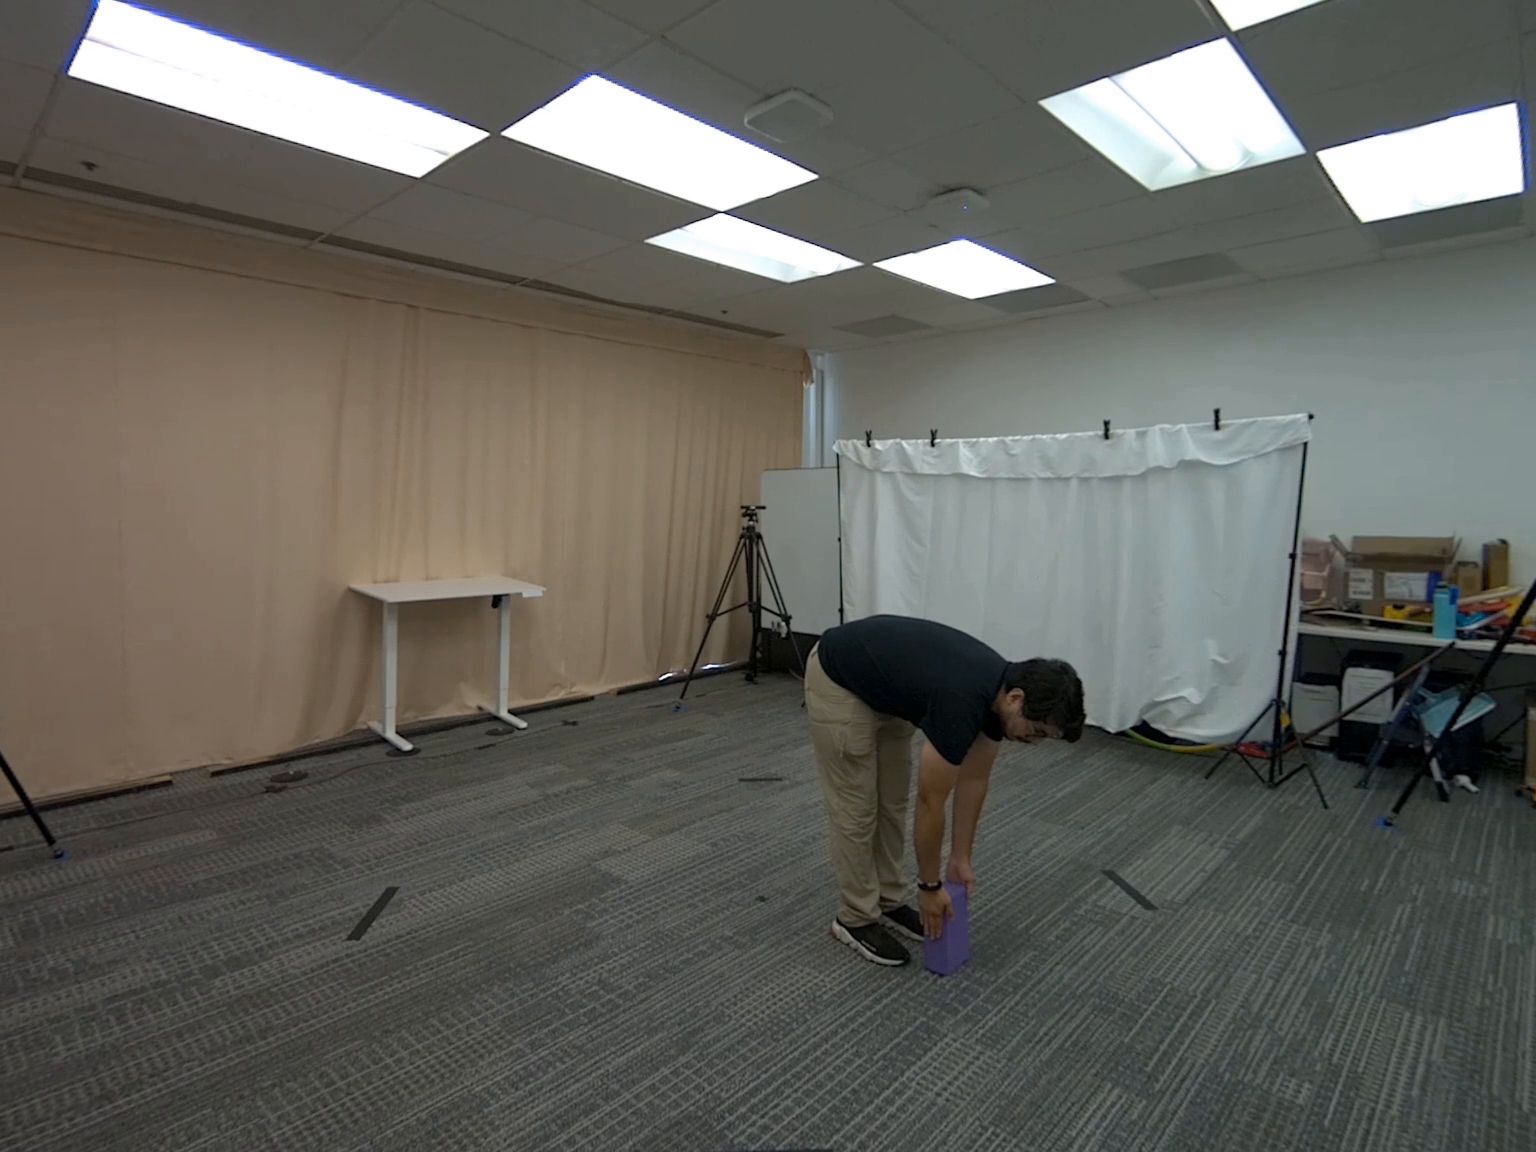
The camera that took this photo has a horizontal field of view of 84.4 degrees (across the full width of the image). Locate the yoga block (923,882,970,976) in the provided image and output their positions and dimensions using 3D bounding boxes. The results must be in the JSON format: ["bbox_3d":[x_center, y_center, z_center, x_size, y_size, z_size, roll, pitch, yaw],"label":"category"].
[{"bbox_3d":[0.551,1.066,2.546,0.079,0.229,0.144,3,4,45],"label":"yoga block"}]
